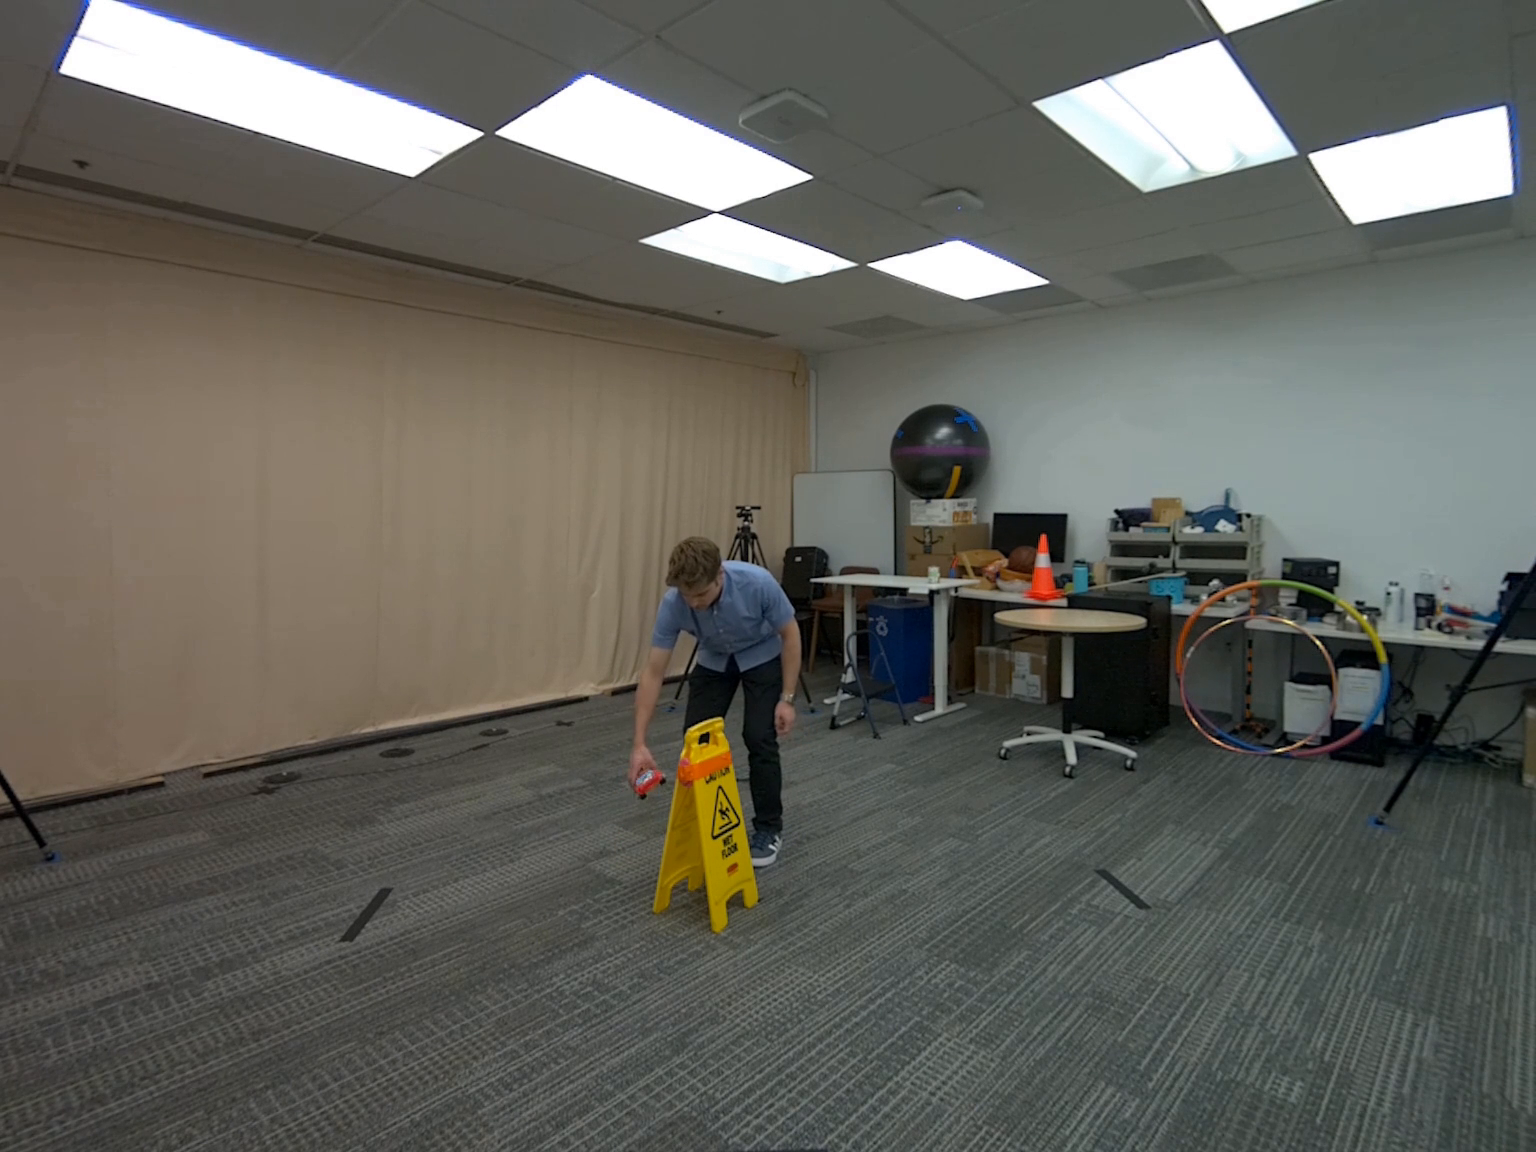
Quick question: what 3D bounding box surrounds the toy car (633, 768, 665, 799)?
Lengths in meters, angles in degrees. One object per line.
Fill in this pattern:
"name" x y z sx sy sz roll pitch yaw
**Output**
"toy car" -0.461 0.776 3.171 0.129 0.082 0.259 -38 13 -16
